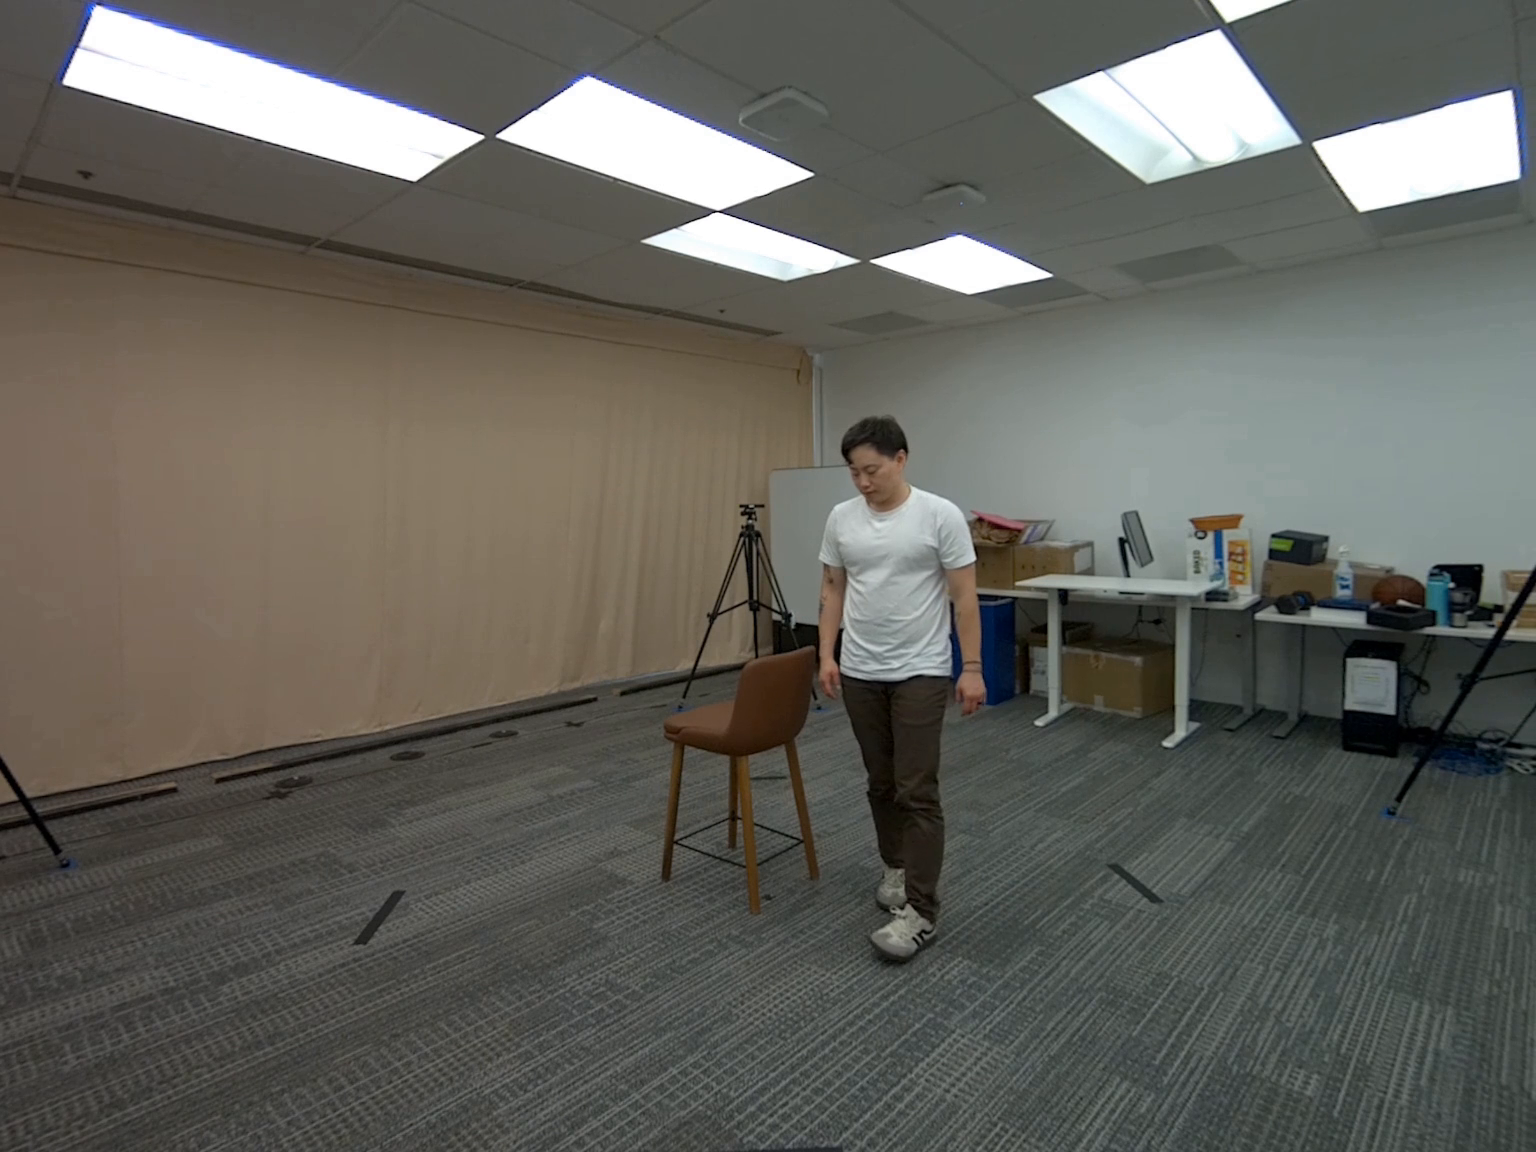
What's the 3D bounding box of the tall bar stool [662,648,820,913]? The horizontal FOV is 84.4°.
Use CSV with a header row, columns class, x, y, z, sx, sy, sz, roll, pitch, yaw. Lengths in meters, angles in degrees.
class,x,y,z,sx,sy,sz,roll,pitch,yaw
tall bar stool,-0.097,0.690,3.116,0.483,0.887,0.443,5,7,40
